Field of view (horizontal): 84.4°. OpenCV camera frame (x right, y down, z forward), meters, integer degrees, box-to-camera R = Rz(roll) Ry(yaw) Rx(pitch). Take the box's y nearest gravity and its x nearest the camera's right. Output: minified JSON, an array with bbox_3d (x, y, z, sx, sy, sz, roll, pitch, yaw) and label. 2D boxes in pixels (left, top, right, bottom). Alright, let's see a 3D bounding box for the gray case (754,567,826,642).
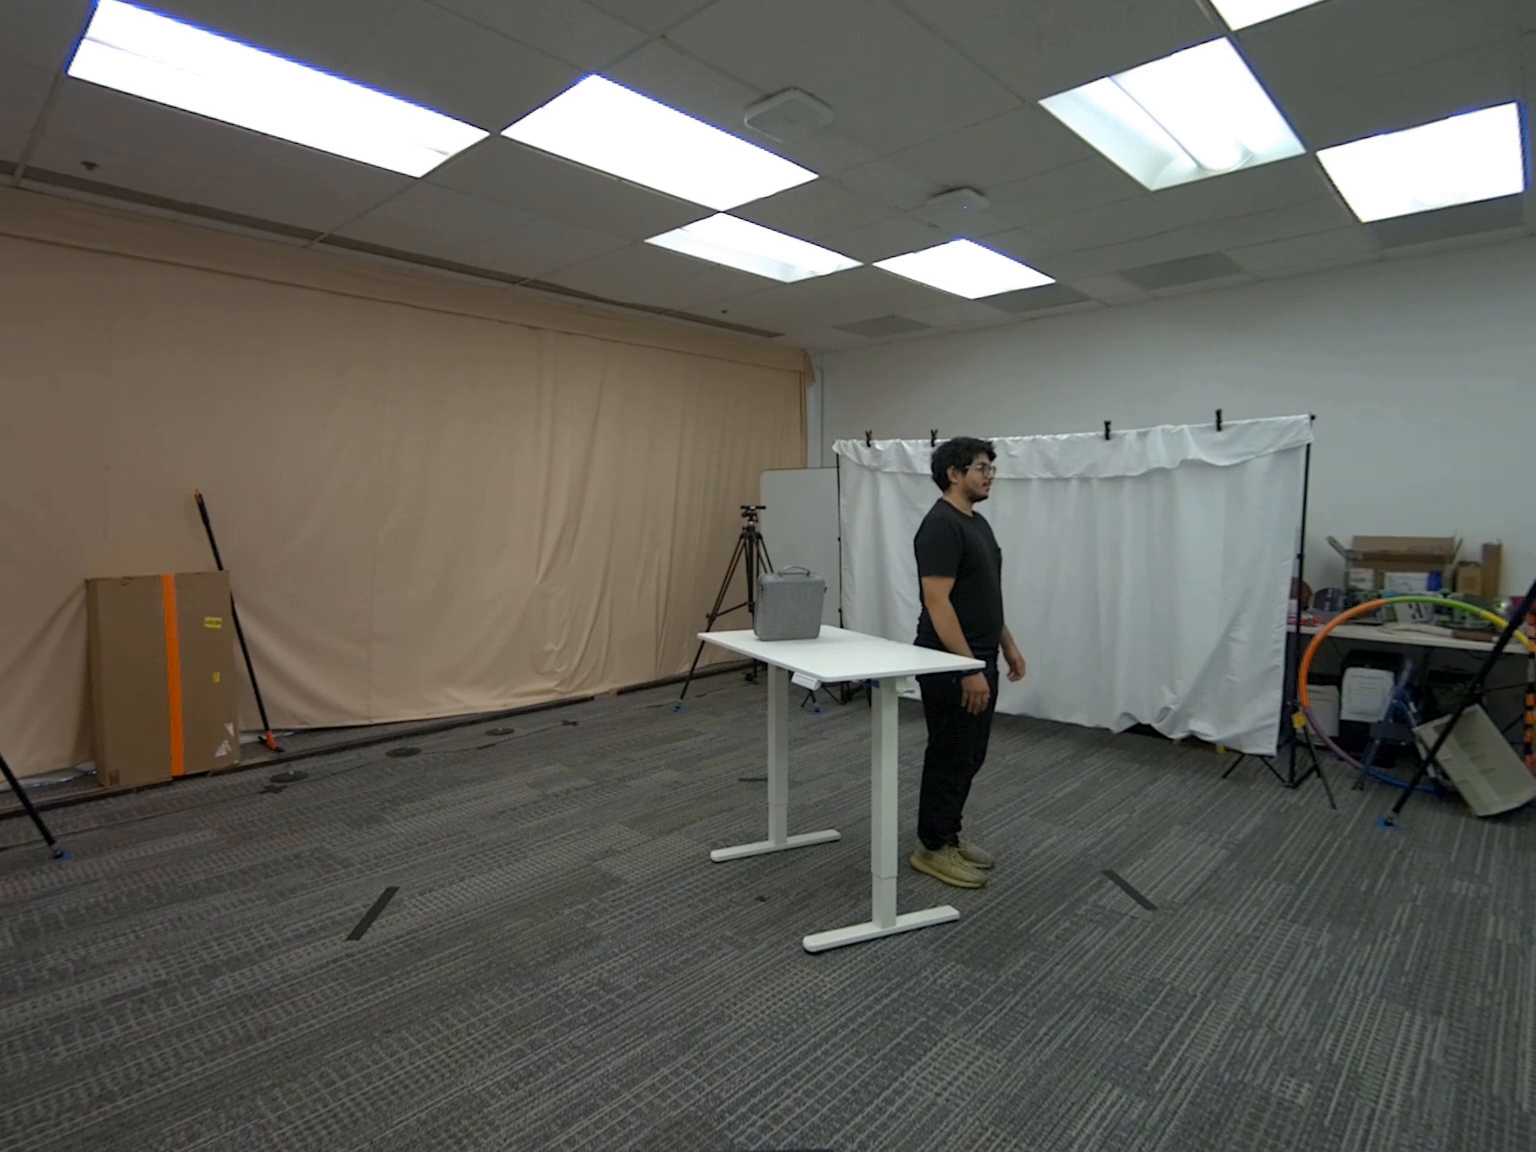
[{"bbox_3d":[0.087,0.112,3.212,0.253,0.259,0.106,0,10,-15],"label":"gray case"}]
